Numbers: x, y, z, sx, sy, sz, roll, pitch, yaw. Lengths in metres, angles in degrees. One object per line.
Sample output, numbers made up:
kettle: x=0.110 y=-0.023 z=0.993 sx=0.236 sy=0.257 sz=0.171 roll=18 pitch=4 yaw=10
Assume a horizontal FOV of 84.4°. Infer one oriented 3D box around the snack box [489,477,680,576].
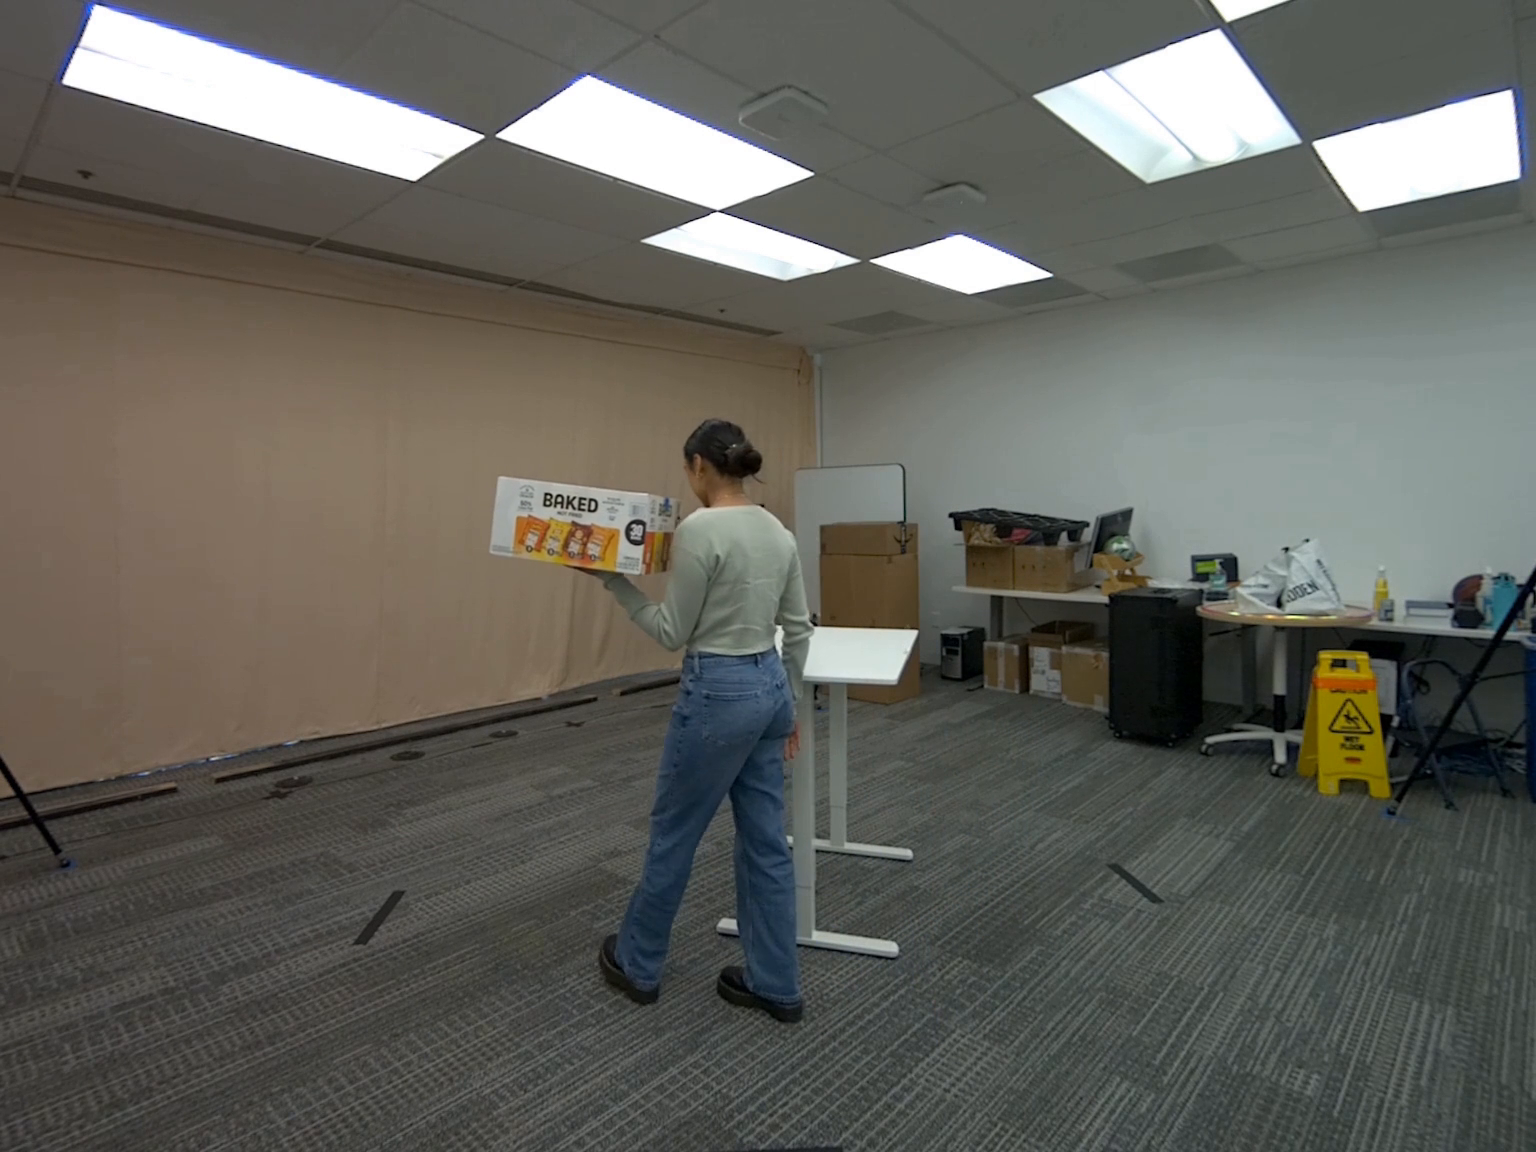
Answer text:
snack box: x=-0.476 y=-0.139 z=2.263 sx=0.410 sy=0.205 sz=0.336 roll=7 pitch=2 yaw=9
